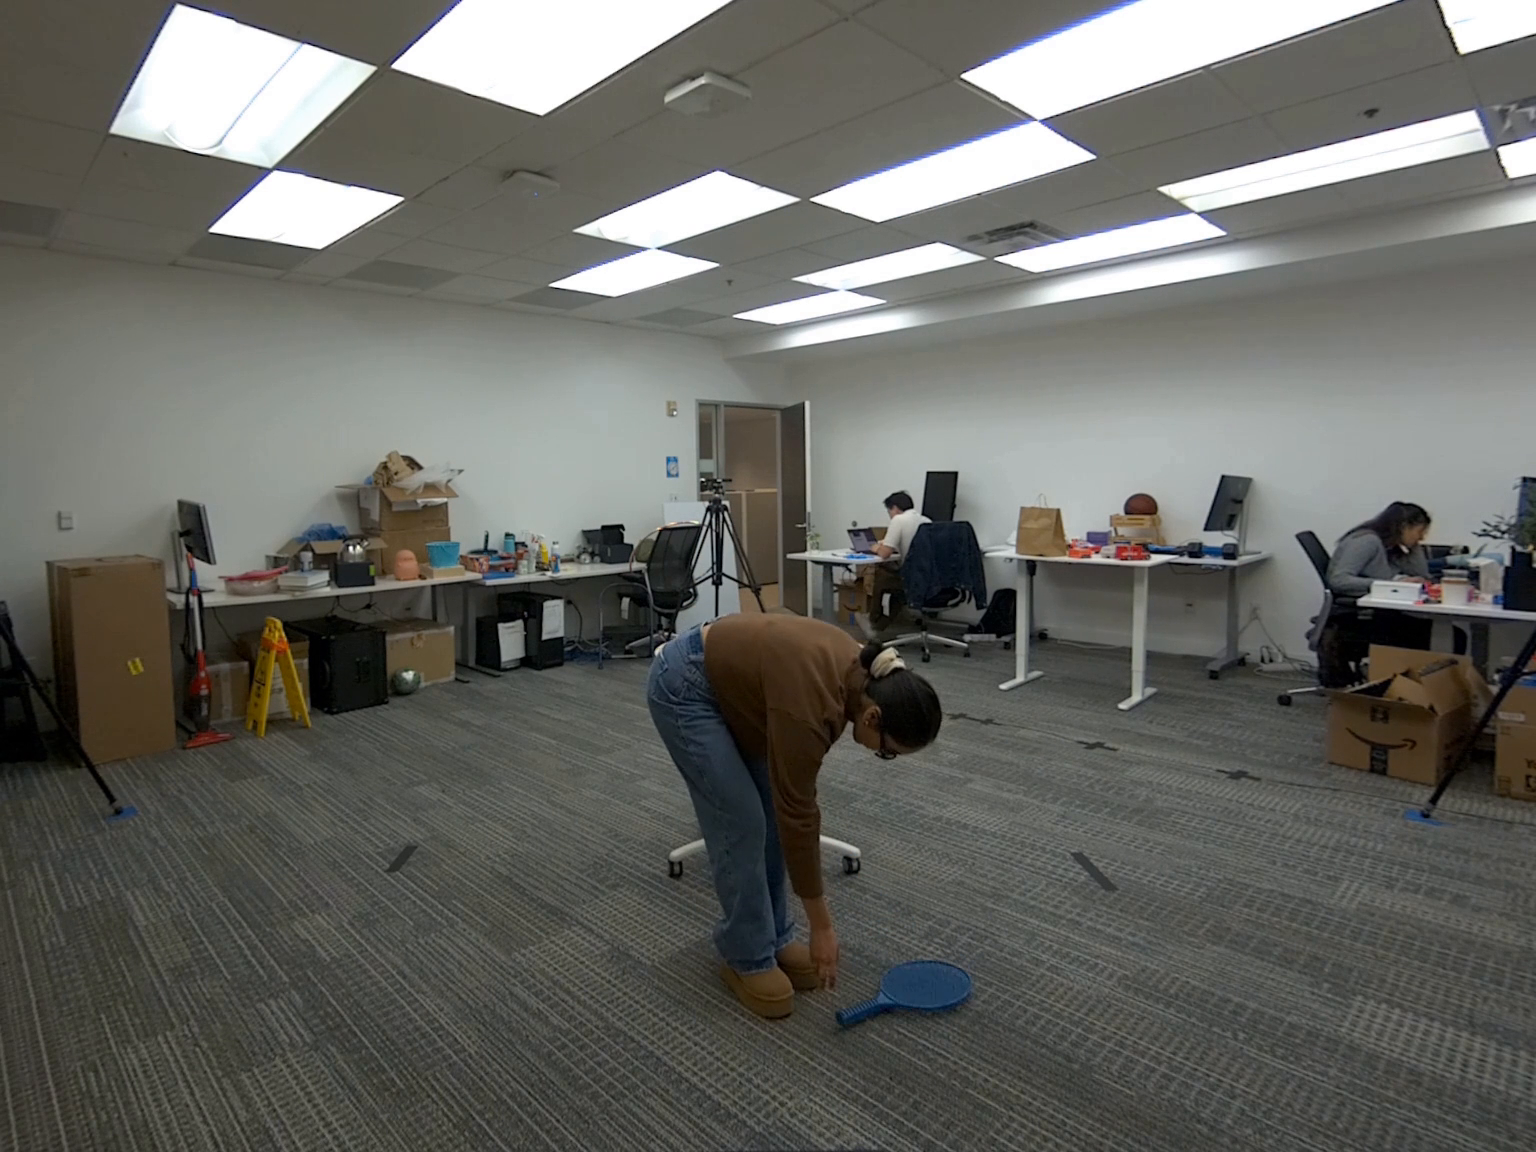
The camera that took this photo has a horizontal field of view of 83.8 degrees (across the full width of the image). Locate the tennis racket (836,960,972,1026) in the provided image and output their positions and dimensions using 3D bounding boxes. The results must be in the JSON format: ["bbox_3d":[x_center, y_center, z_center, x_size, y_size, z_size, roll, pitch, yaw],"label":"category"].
[{"bbox_3d":[0.362,1.103,2.280,0.422,0.031,0.220,-3,6,-30],"label":"tennis racket"}]
